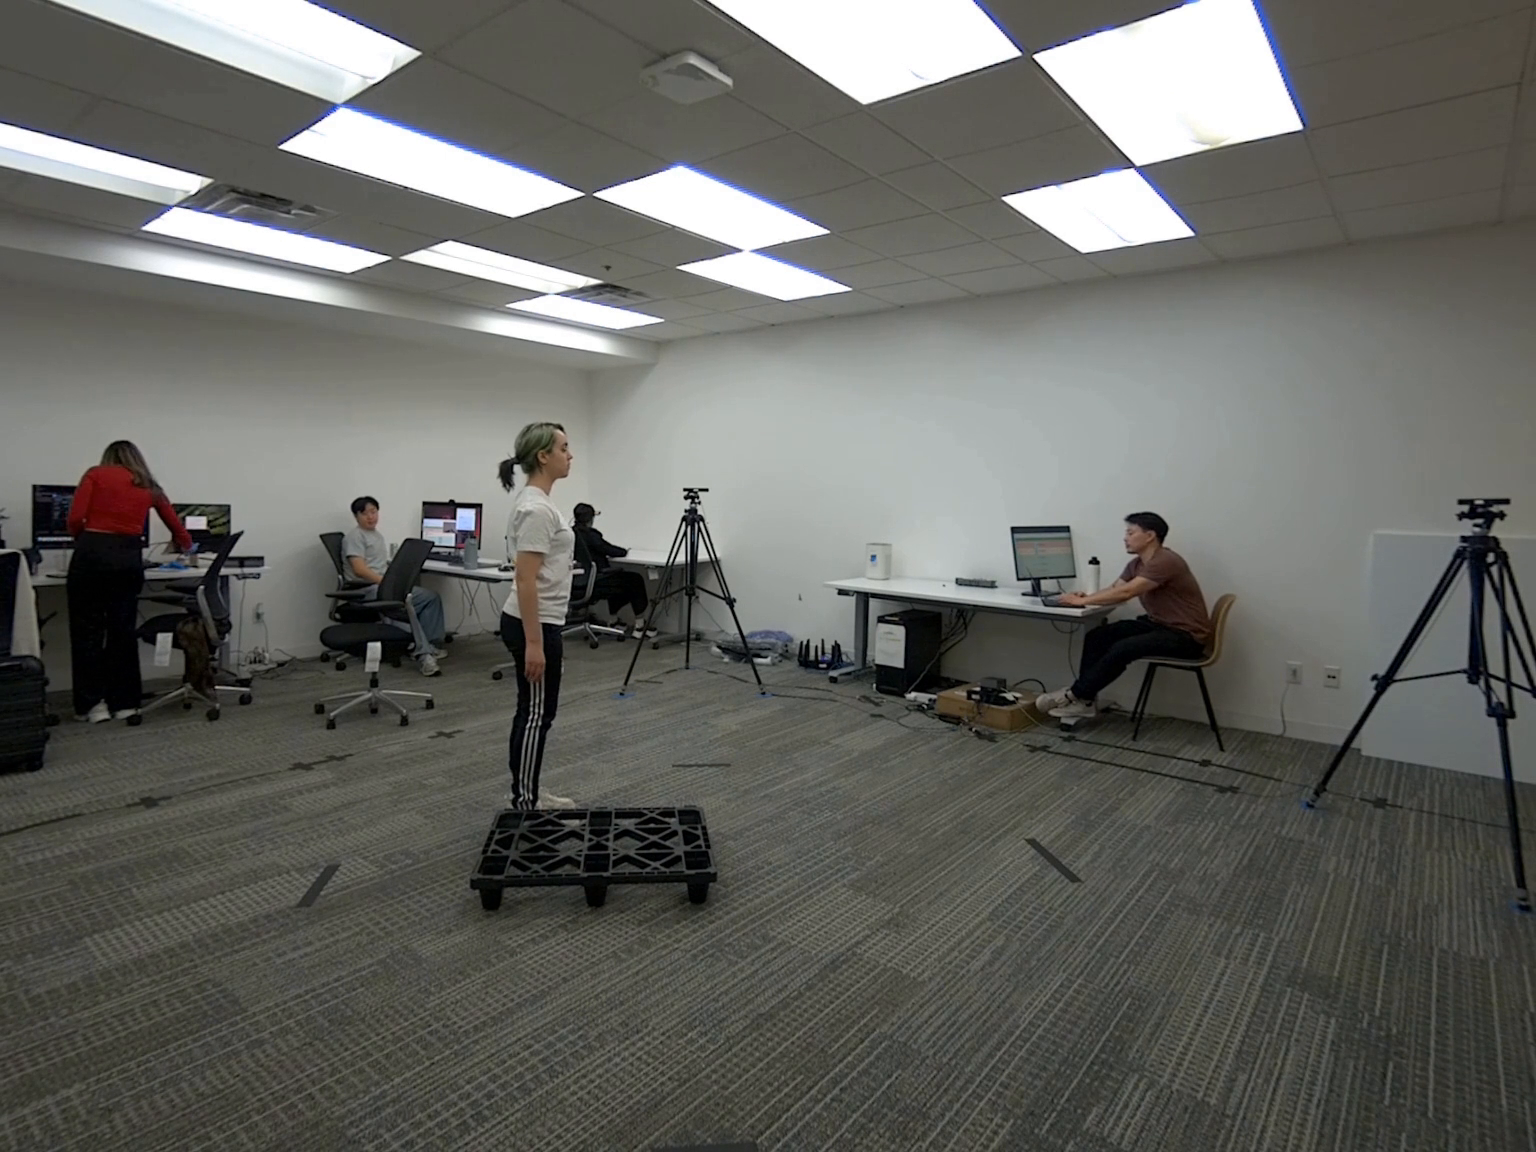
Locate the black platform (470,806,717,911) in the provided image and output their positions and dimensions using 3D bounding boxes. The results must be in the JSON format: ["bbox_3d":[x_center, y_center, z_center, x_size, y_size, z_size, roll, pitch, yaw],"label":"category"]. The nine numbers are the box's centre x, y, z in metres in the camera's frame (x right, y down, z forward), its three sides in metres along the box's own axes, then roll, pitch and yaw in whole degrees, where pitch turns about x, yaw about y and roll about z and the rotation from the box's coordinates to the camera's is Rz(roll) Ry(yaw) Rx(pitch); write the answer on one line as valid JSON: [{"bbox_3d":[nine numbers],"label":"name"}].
[{"bbox_3d":[-0.612,1.000,3.037,0.800,0.143,0.612,0,6,-7],"label":"black platform"}]
